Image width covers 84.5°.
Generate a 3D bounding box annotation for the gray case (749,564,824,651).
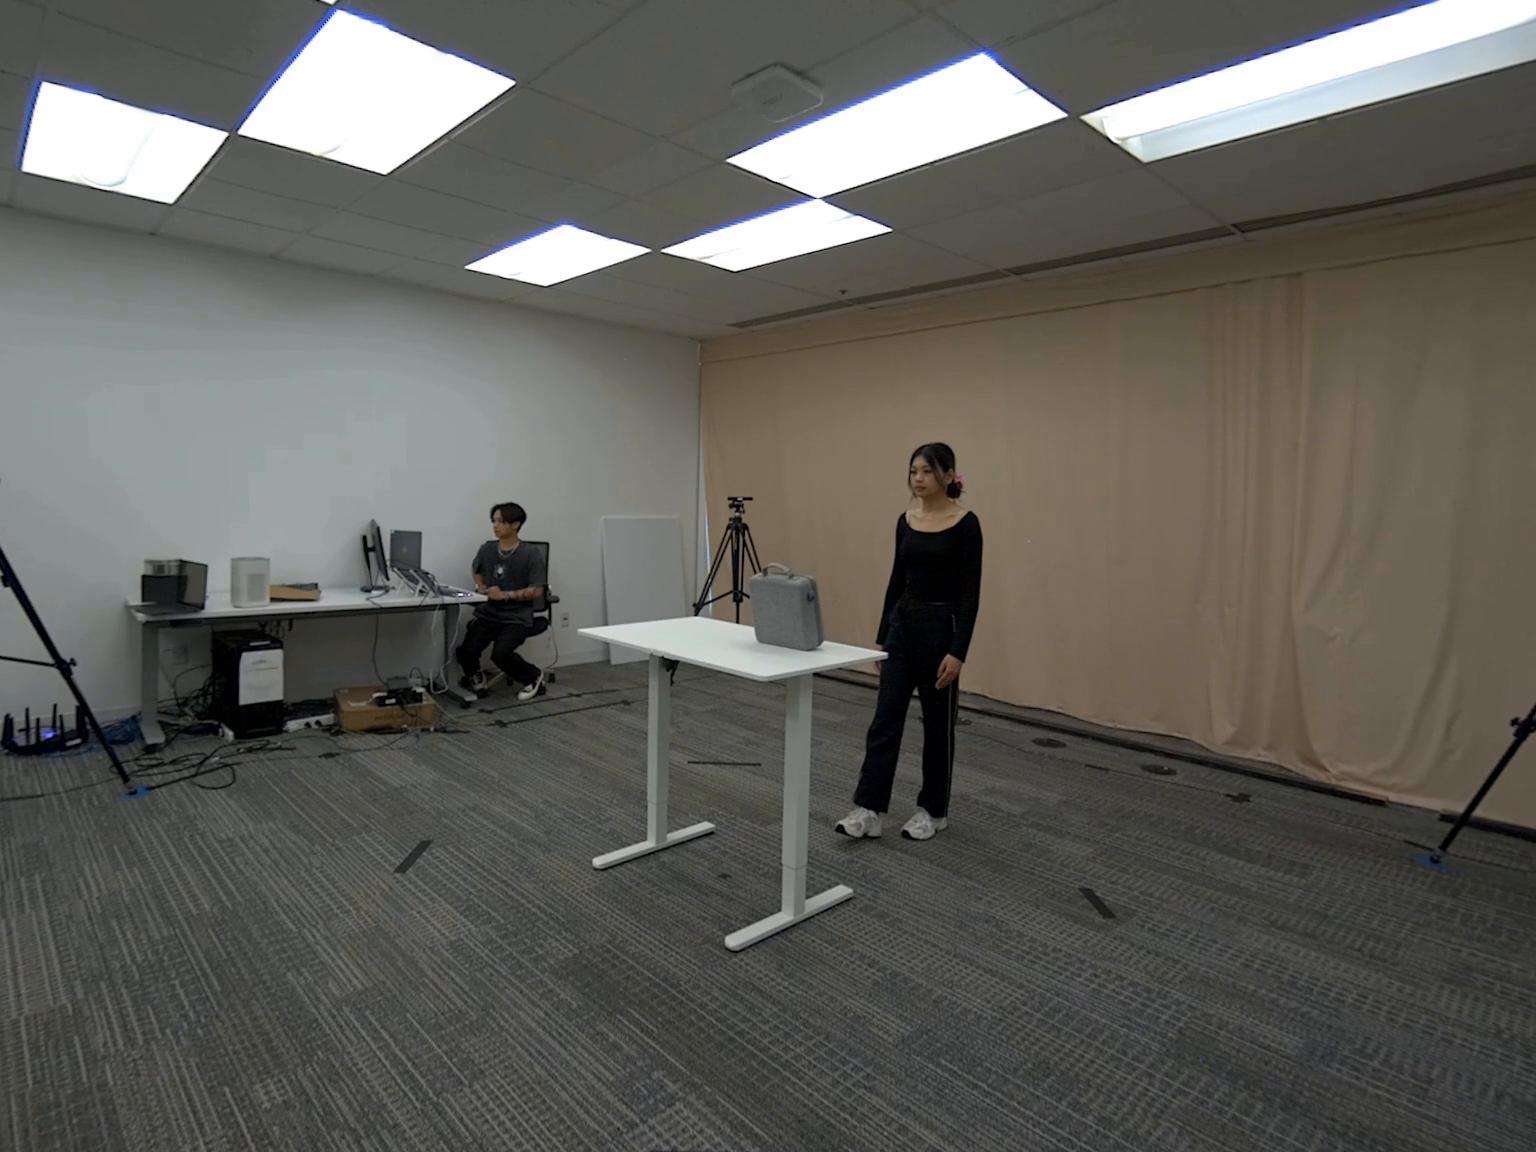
[{"bbox_3d":[0.056,0.117,2.918,0.263,0.258,0.103,5,17,44],"label":"gray case"}]
